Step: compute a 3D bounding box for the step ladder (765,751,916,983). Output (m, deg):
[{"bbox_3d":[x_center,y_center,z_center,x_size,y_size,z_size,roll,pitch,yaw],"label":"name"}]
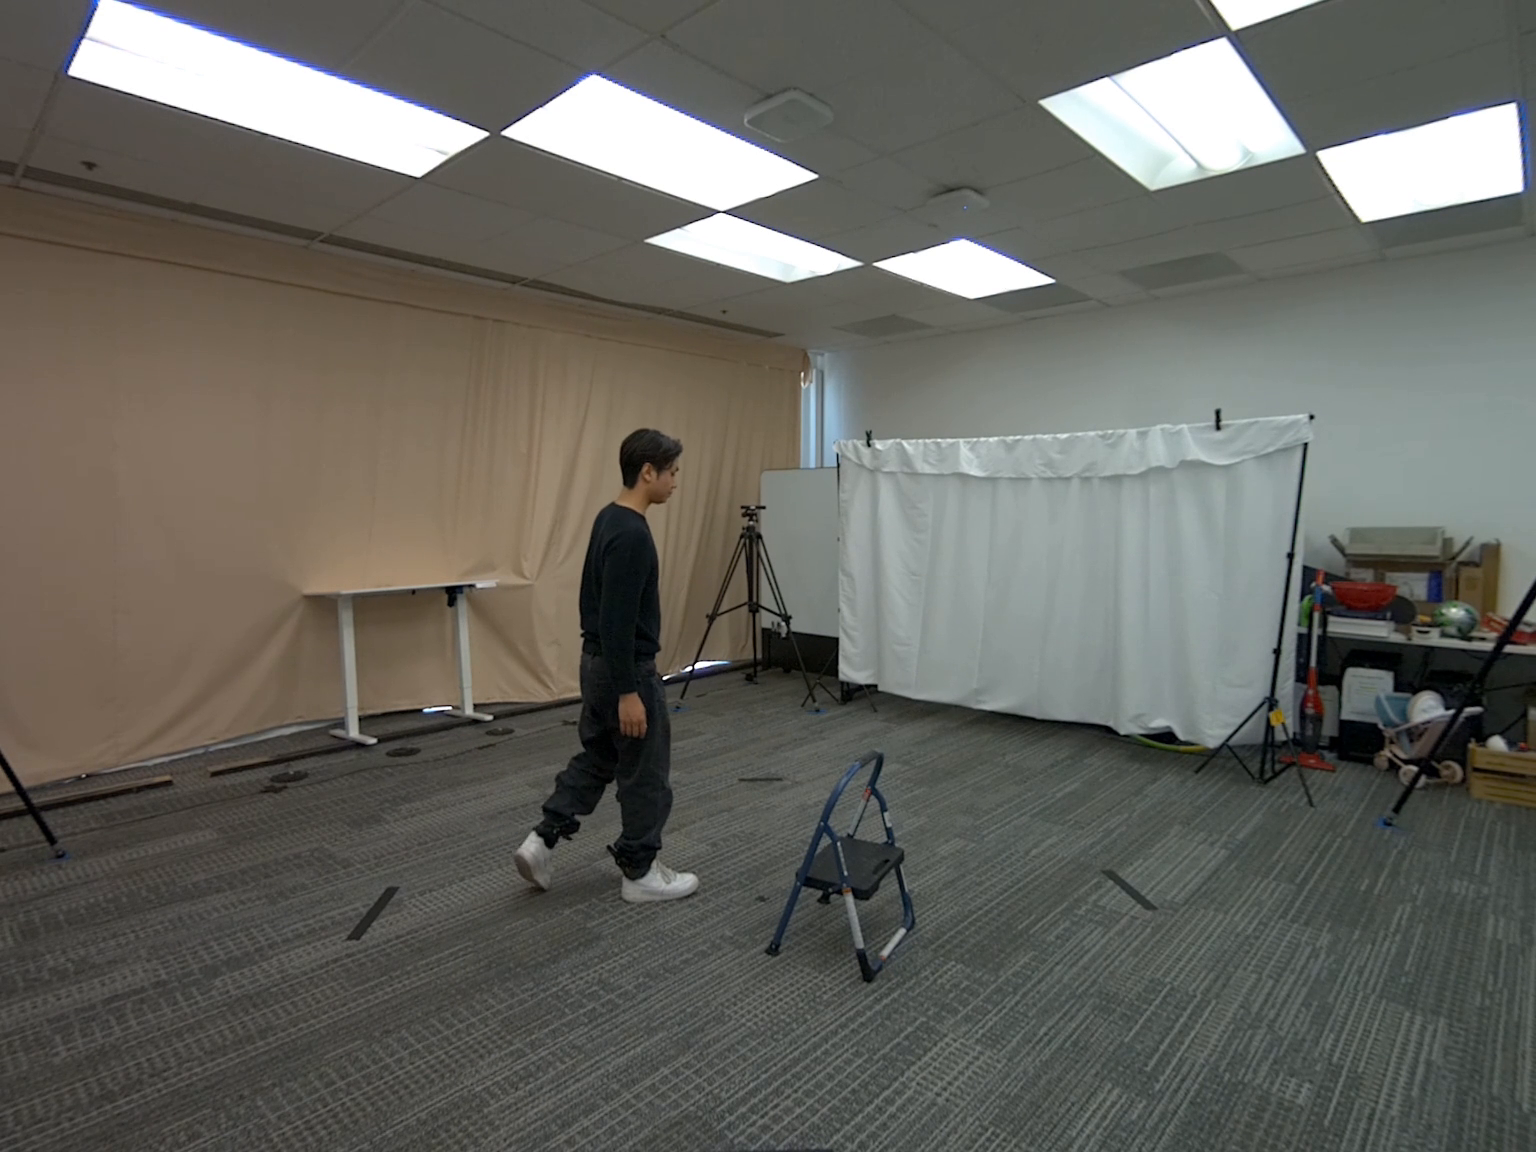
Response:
[{"bbox_3d":[0.247,0.865,2.693,0.359,0.605,0.419,1,4,29],"label":"step ladder"}]
